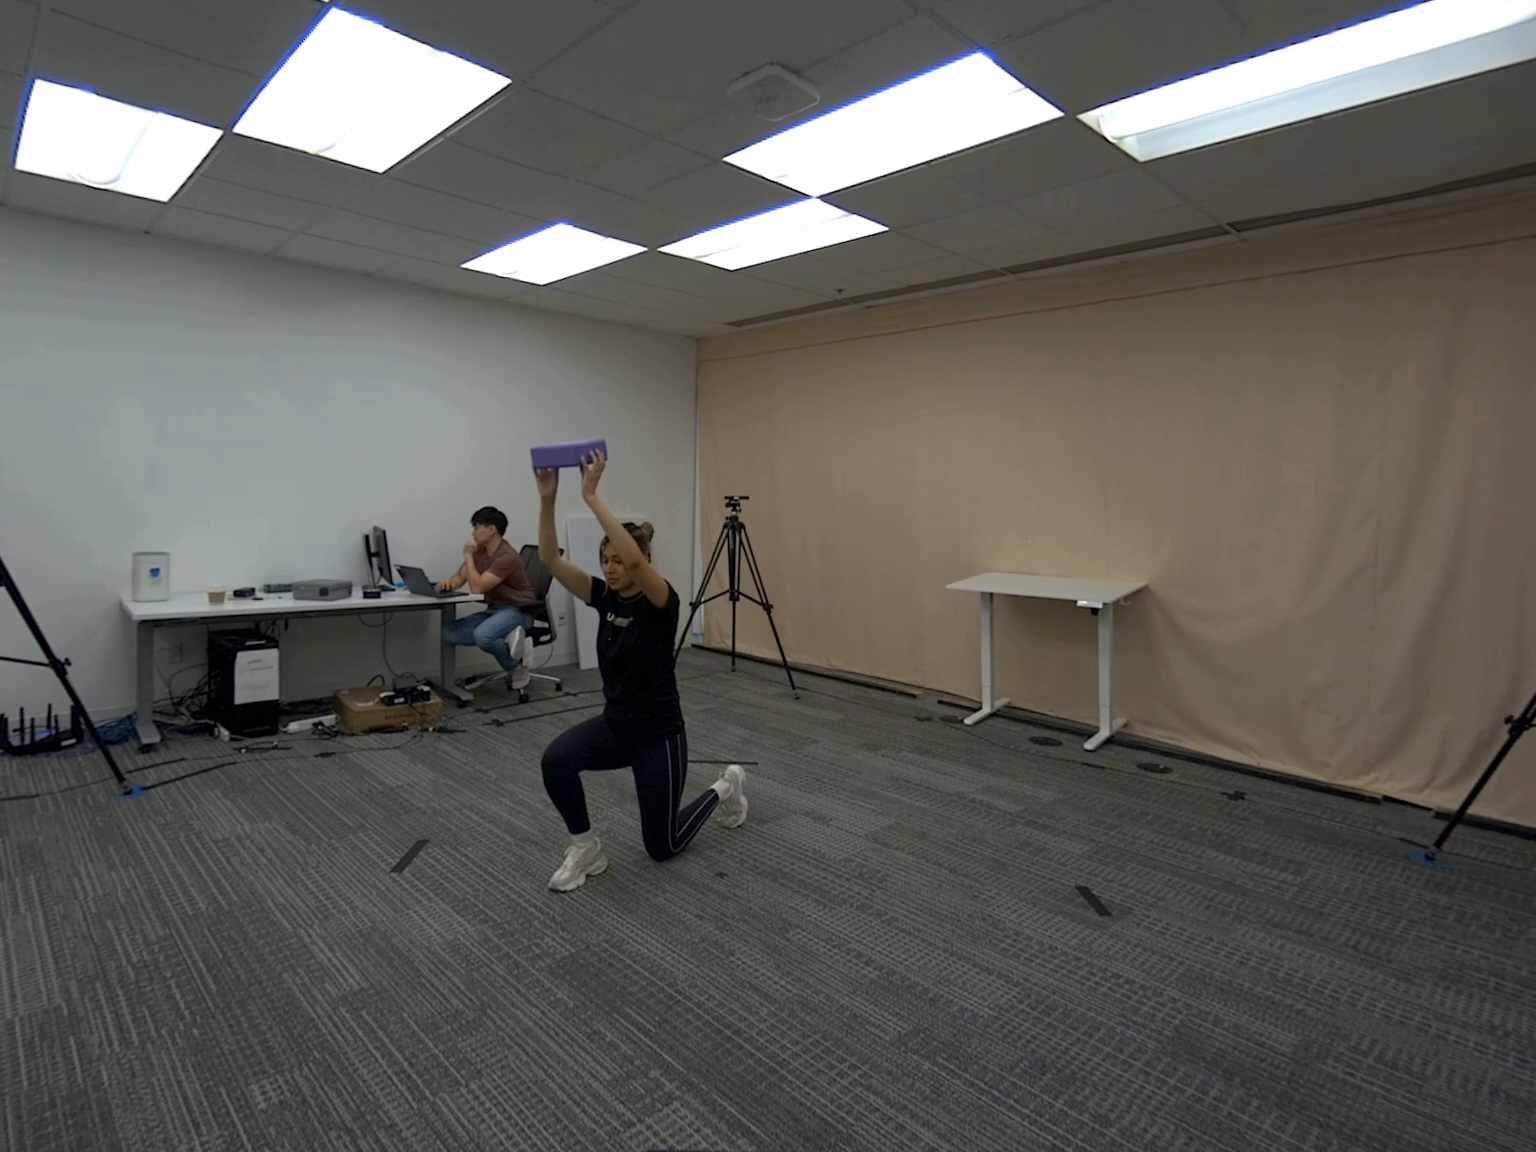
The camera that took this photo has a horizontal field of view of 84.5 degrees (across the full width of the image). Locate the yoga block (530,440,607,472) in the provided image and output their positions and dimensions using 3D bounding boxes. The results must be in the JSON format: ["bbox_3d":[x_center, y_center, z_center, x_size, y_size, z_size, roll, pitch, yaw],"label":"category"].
[{"bbox_3d":[-0.690,-0.401,2.855,0.234,0.075,0.147,2,16,31],"label":"yoga block"}]
